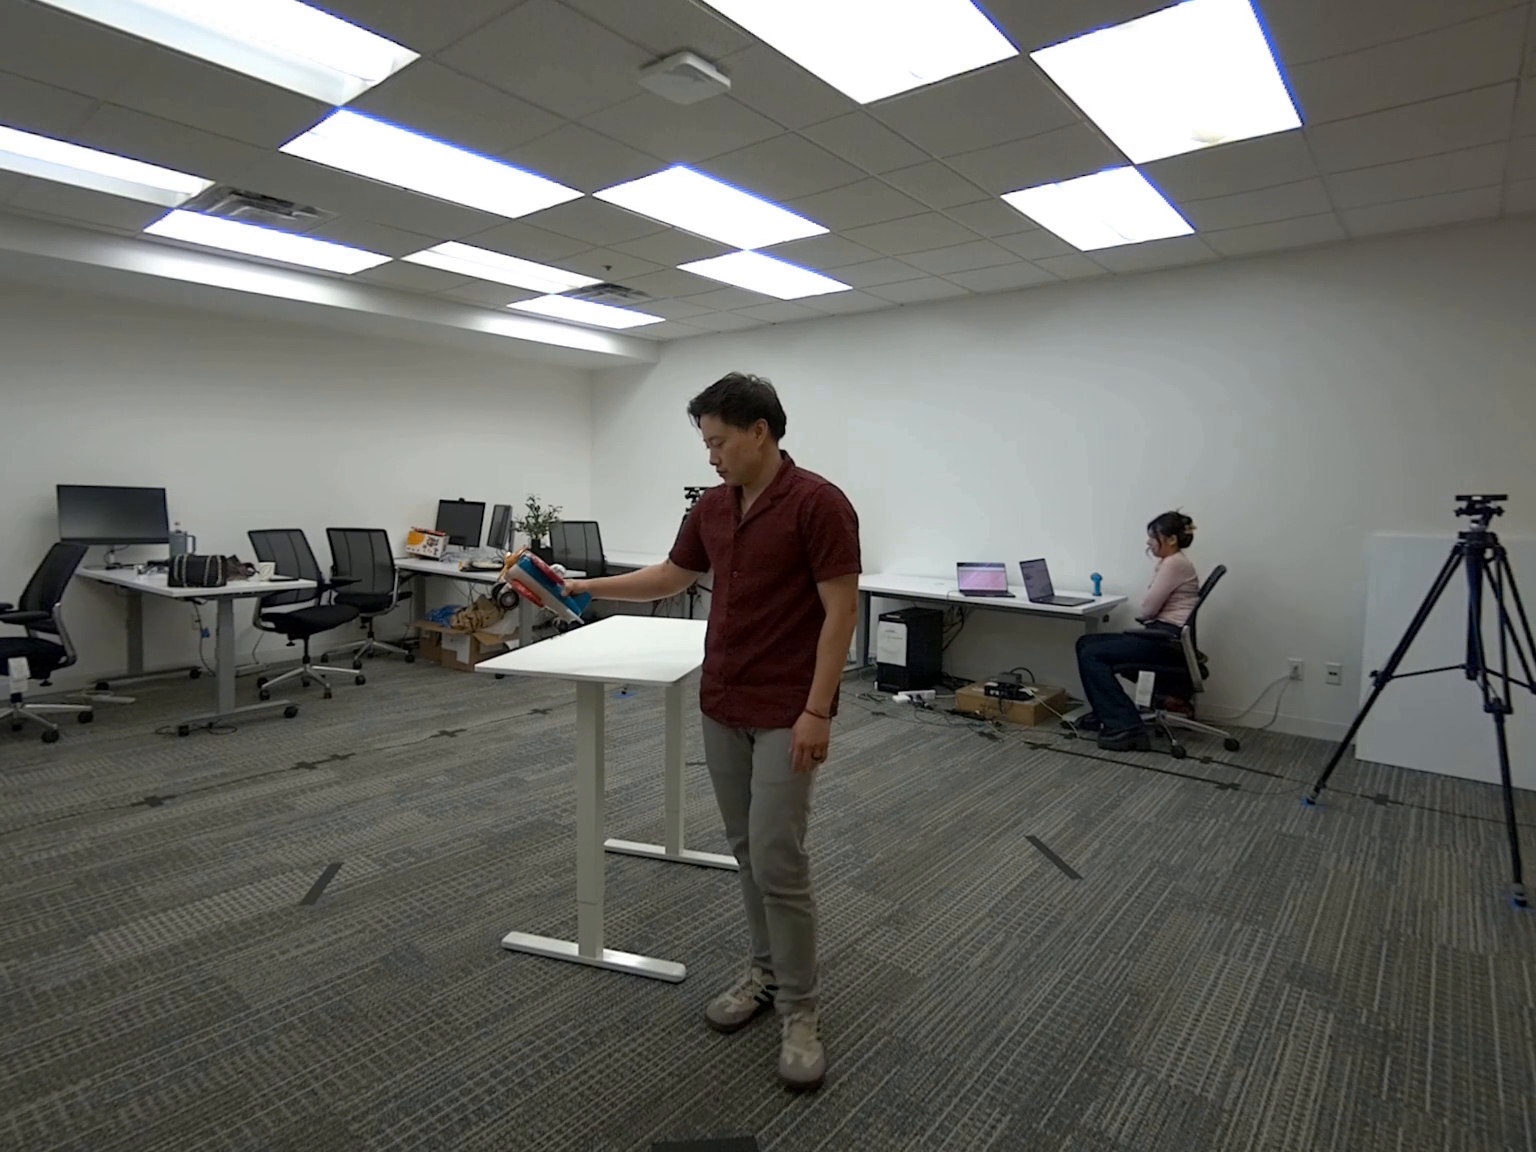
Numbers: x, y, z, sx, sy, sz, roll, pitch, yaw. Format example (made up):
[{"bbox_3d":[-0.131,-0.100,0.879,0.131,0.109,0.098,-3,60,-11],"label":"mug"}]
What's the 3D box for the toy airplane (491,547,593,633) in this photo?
[{"bbox_3d":[-0.617,0.039,2.271,0.261,0.157,0.249,23,-6,33],"label":"toy airplane"}]
